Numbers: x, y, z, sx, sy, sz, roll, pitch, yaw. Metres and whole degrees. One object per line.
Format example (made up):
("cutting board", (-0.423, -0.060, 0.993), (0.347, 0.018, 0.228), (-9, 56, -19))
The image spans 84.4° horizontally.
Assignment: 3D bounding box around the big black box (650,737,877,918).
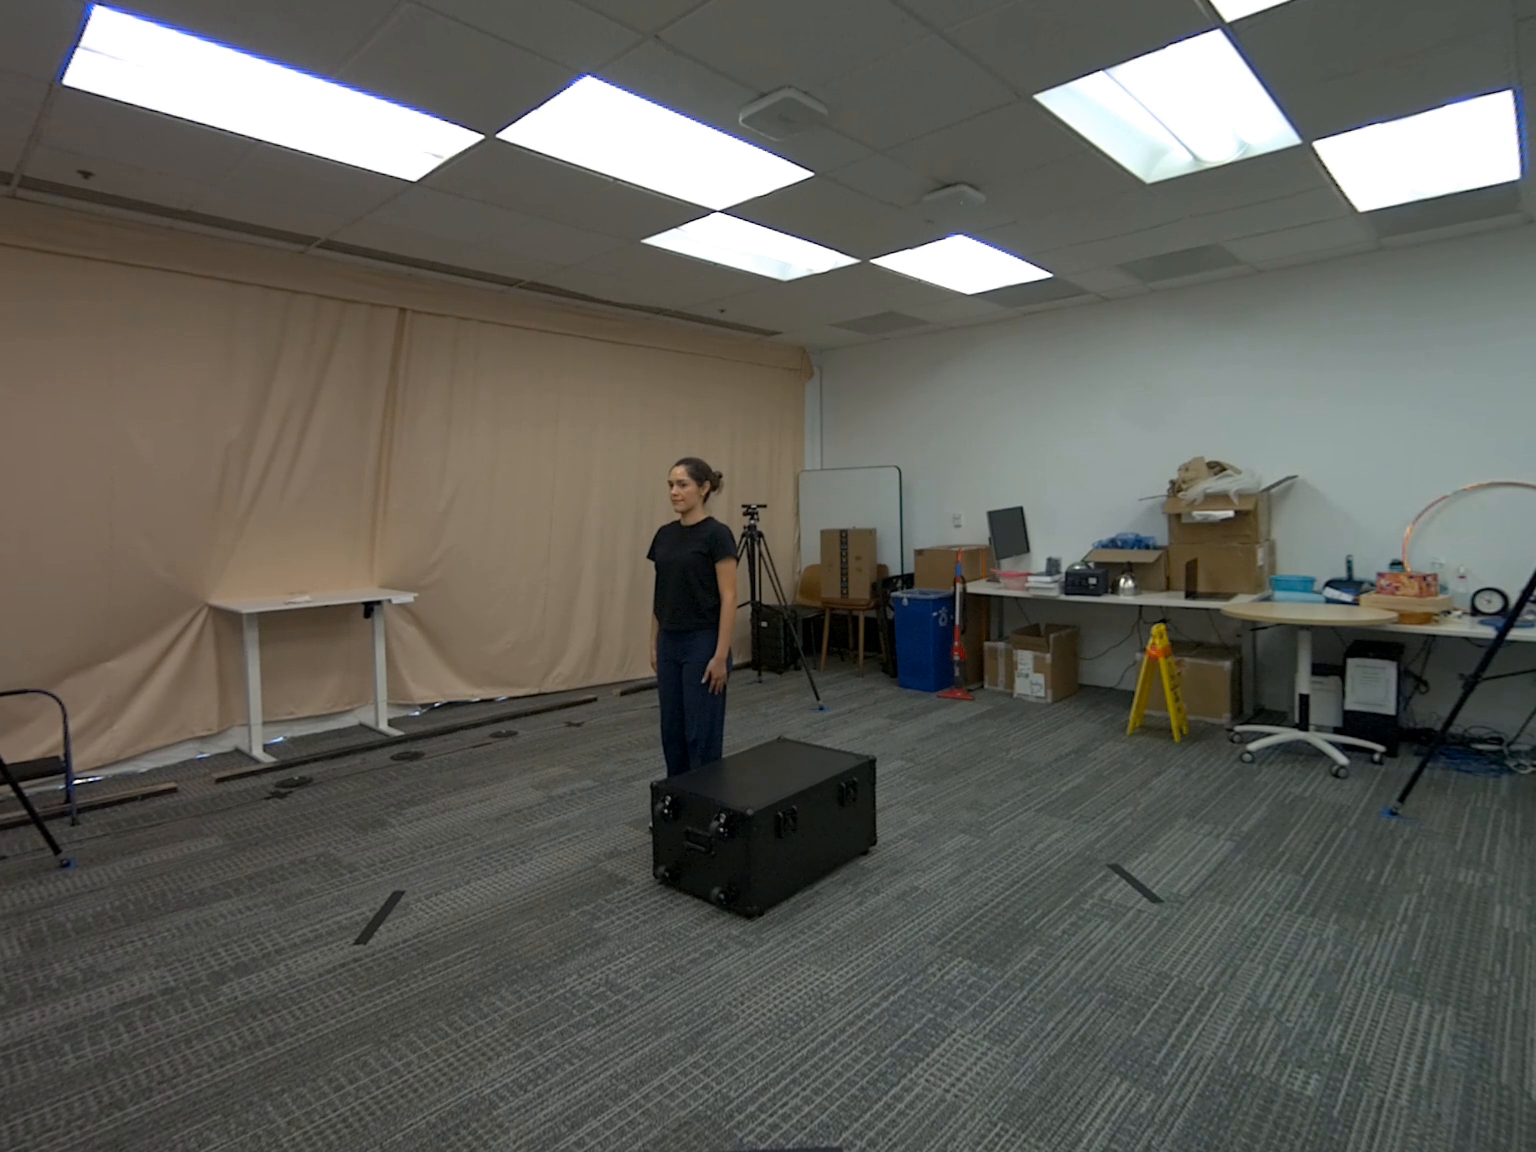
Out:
("big black box", (-0.003, 0.931, 3.210), (0.538, 0.395, 0.836), (2, 5, 40))
